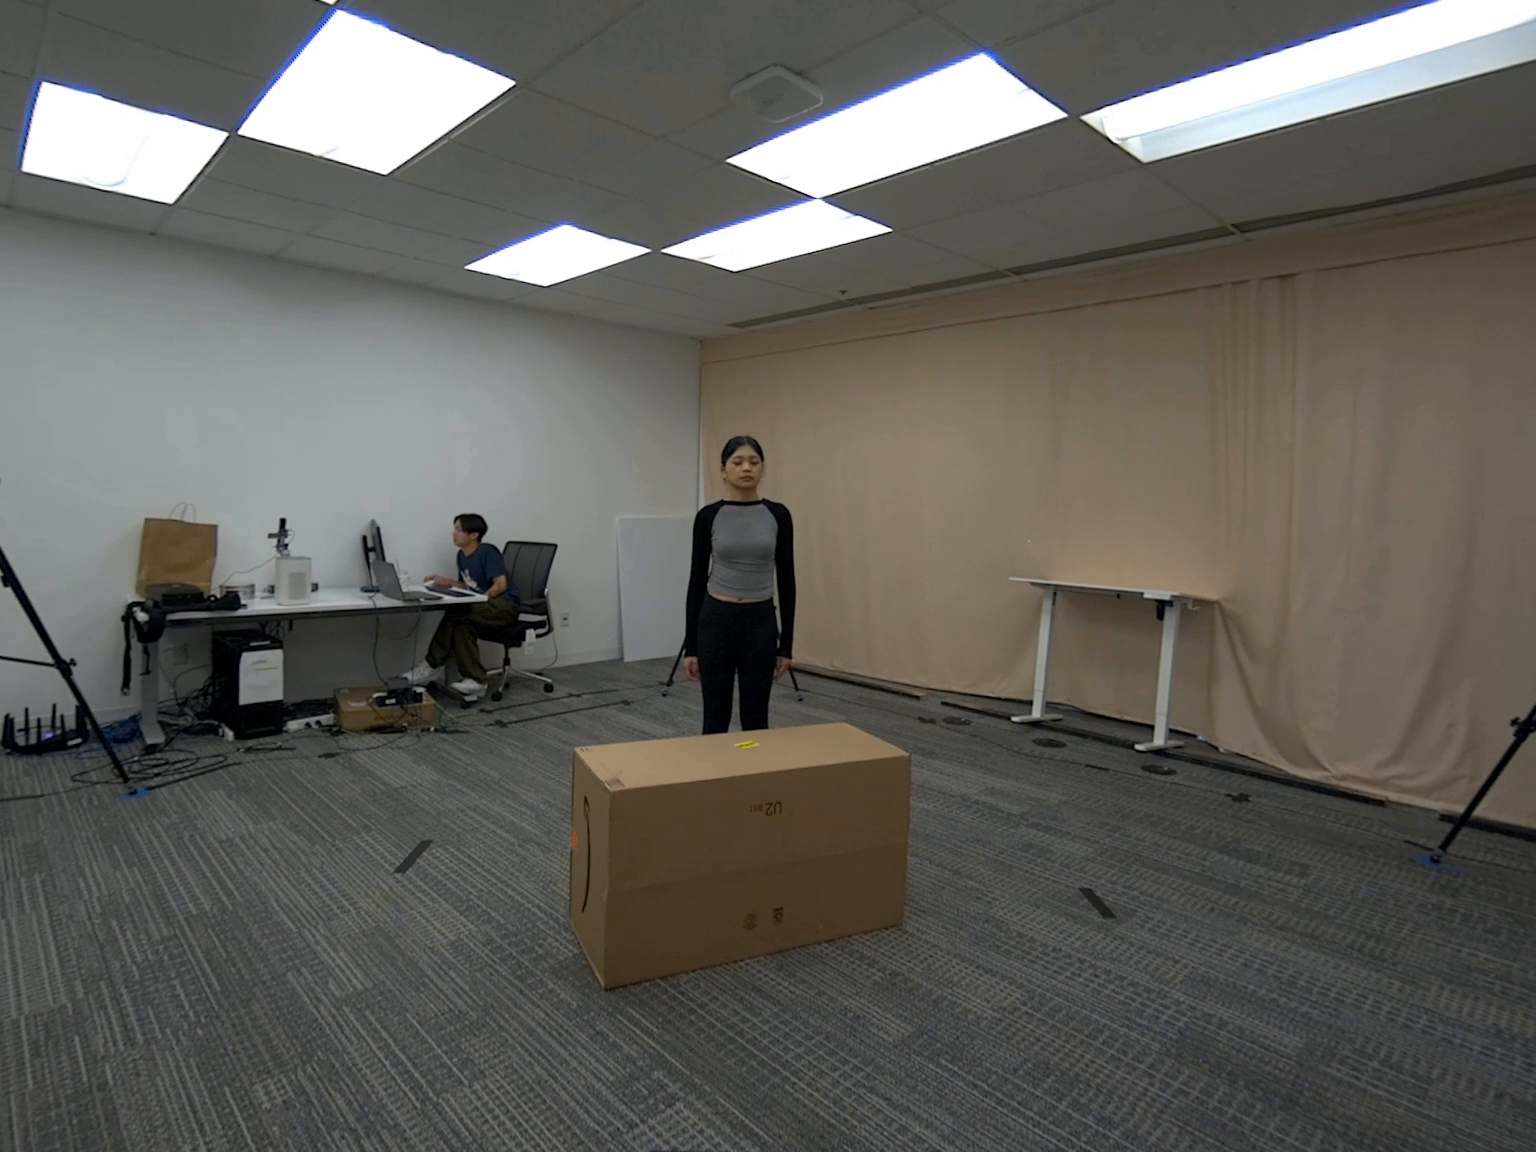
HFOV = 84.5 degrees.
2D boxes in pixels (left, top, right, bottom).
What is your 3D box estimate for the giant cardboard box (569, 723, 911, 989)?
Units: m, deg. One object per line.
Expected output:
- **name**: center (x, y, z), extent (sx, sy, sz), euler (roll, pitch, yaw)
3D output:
- **giant cardboard box**: center (-0.092, 0.853, 2.745), extent (1.007, 0.576, 0.435), euler (-1, 4, -25)
